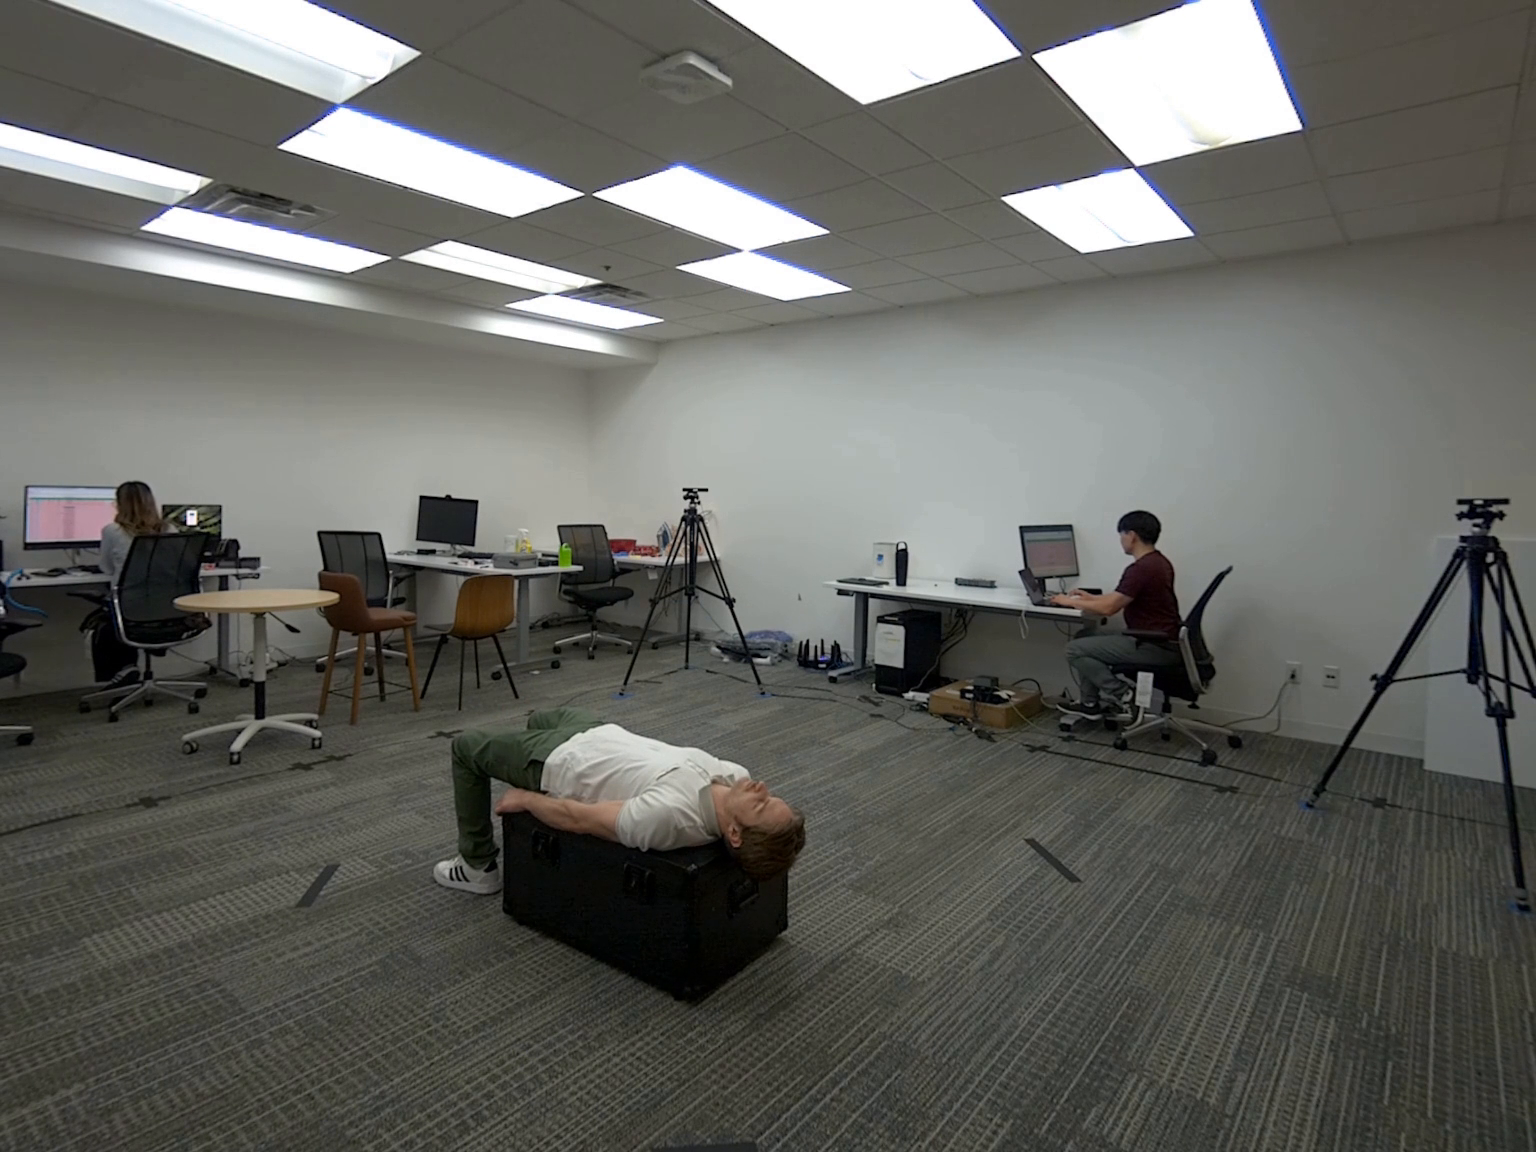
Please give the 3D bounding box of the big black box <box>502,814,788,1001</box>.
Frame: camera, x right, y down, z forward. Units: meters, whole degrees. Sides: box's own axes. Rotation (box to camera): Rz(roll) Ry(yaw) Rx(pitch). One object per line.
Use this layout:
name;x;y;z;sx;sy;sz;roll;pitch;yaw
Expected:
big black box;-0.427;0.917;2.704;0.896;0.384;0.509;4;6;35
